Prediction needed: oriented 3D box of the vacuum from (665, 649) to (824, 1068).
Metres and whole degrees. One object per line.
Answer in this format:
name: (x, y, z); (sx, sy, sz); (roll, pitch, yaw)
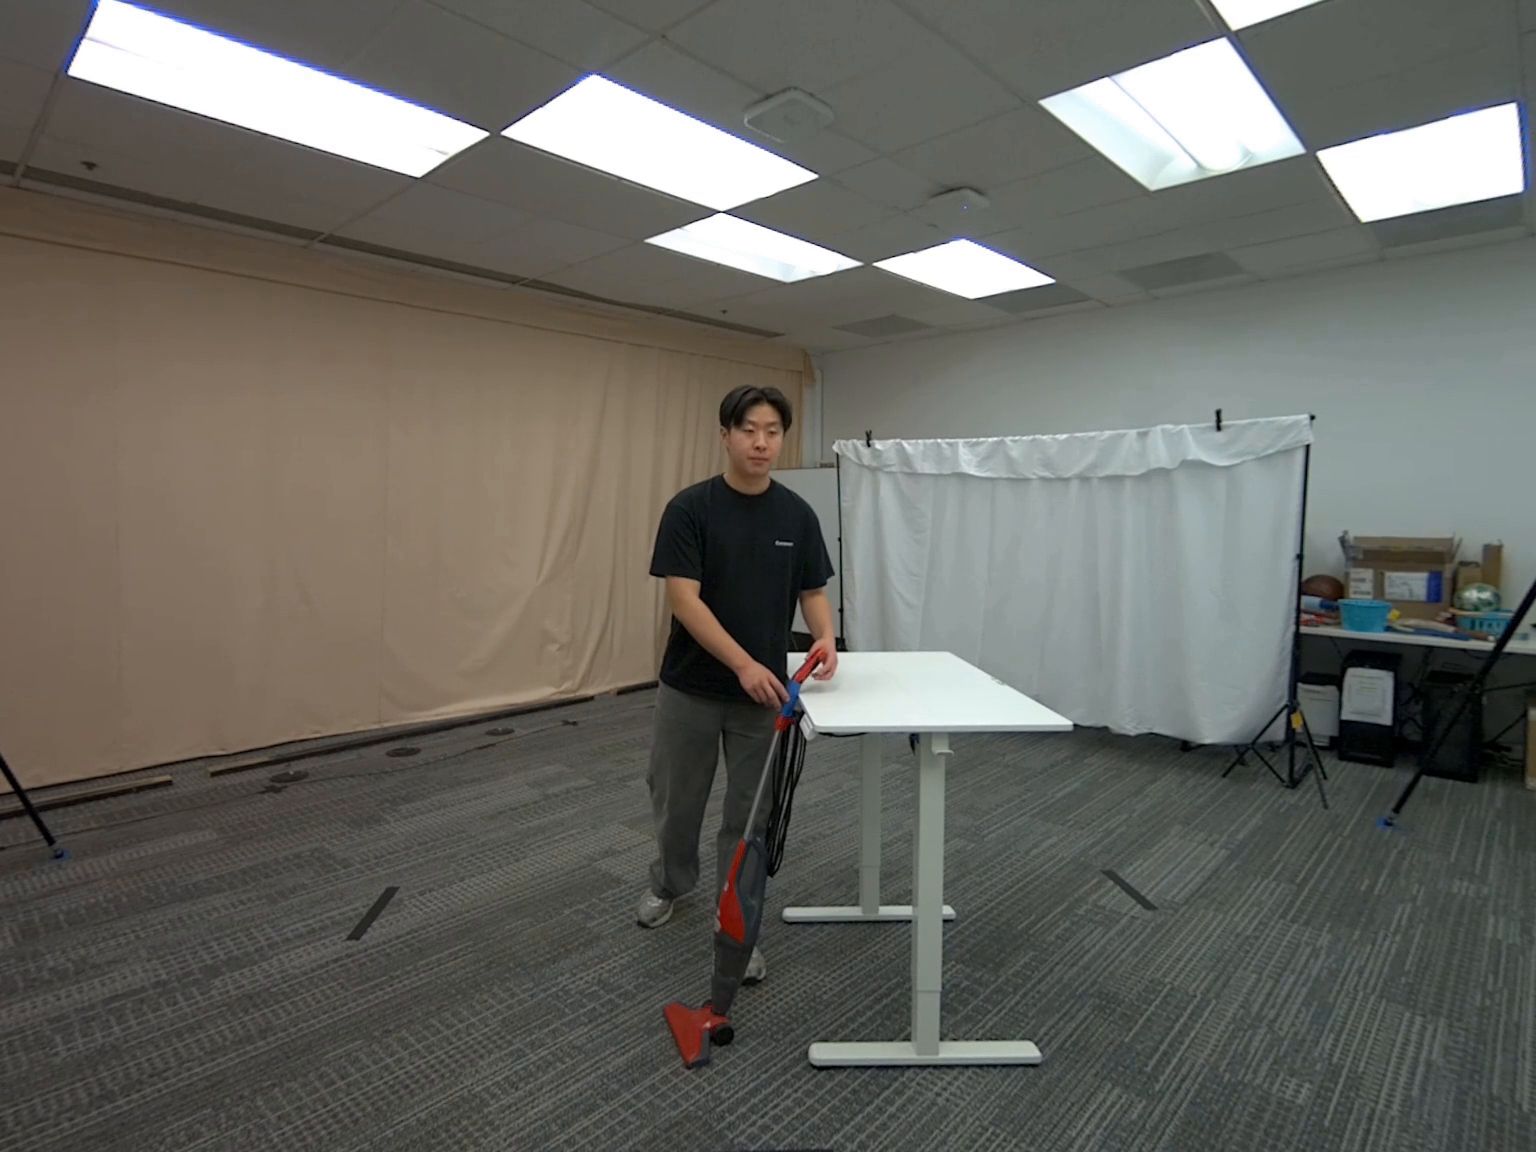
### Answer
vacuum: (-0.020, 0.710, 2.252); (0.140, 1.050, 0.259); (19, -5, -25)
